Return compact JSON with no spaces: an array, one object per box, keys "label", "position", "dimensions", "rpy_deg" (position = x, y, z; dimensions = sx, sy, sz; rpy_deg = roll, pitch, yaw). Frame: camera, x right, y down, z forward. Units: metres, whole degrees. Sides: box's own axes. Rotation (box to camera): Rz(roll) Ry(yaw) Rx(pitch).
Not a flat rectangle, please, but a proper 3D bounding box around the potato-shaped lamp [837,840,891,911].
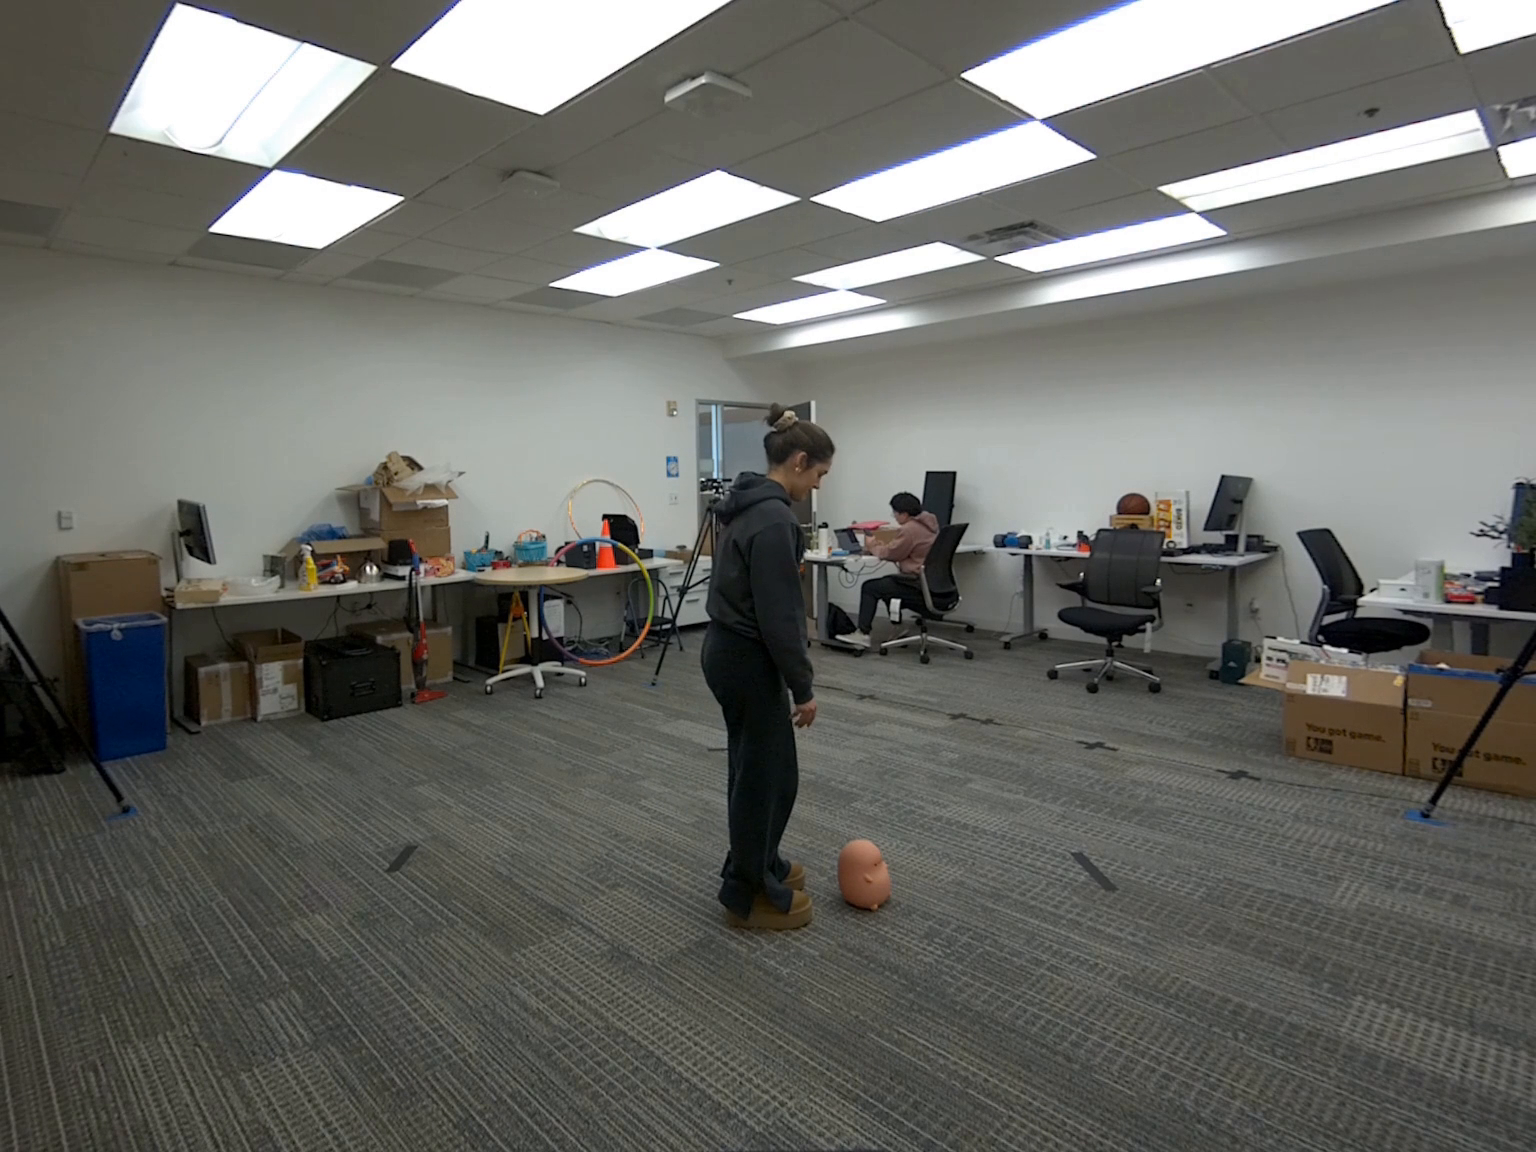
[{"label":"potato-shaped lamp","position":[0.311,0.967,2.793],"dimensions":[0.176,0.197,0.161],"rpy_deg":[3,6,34]}]
